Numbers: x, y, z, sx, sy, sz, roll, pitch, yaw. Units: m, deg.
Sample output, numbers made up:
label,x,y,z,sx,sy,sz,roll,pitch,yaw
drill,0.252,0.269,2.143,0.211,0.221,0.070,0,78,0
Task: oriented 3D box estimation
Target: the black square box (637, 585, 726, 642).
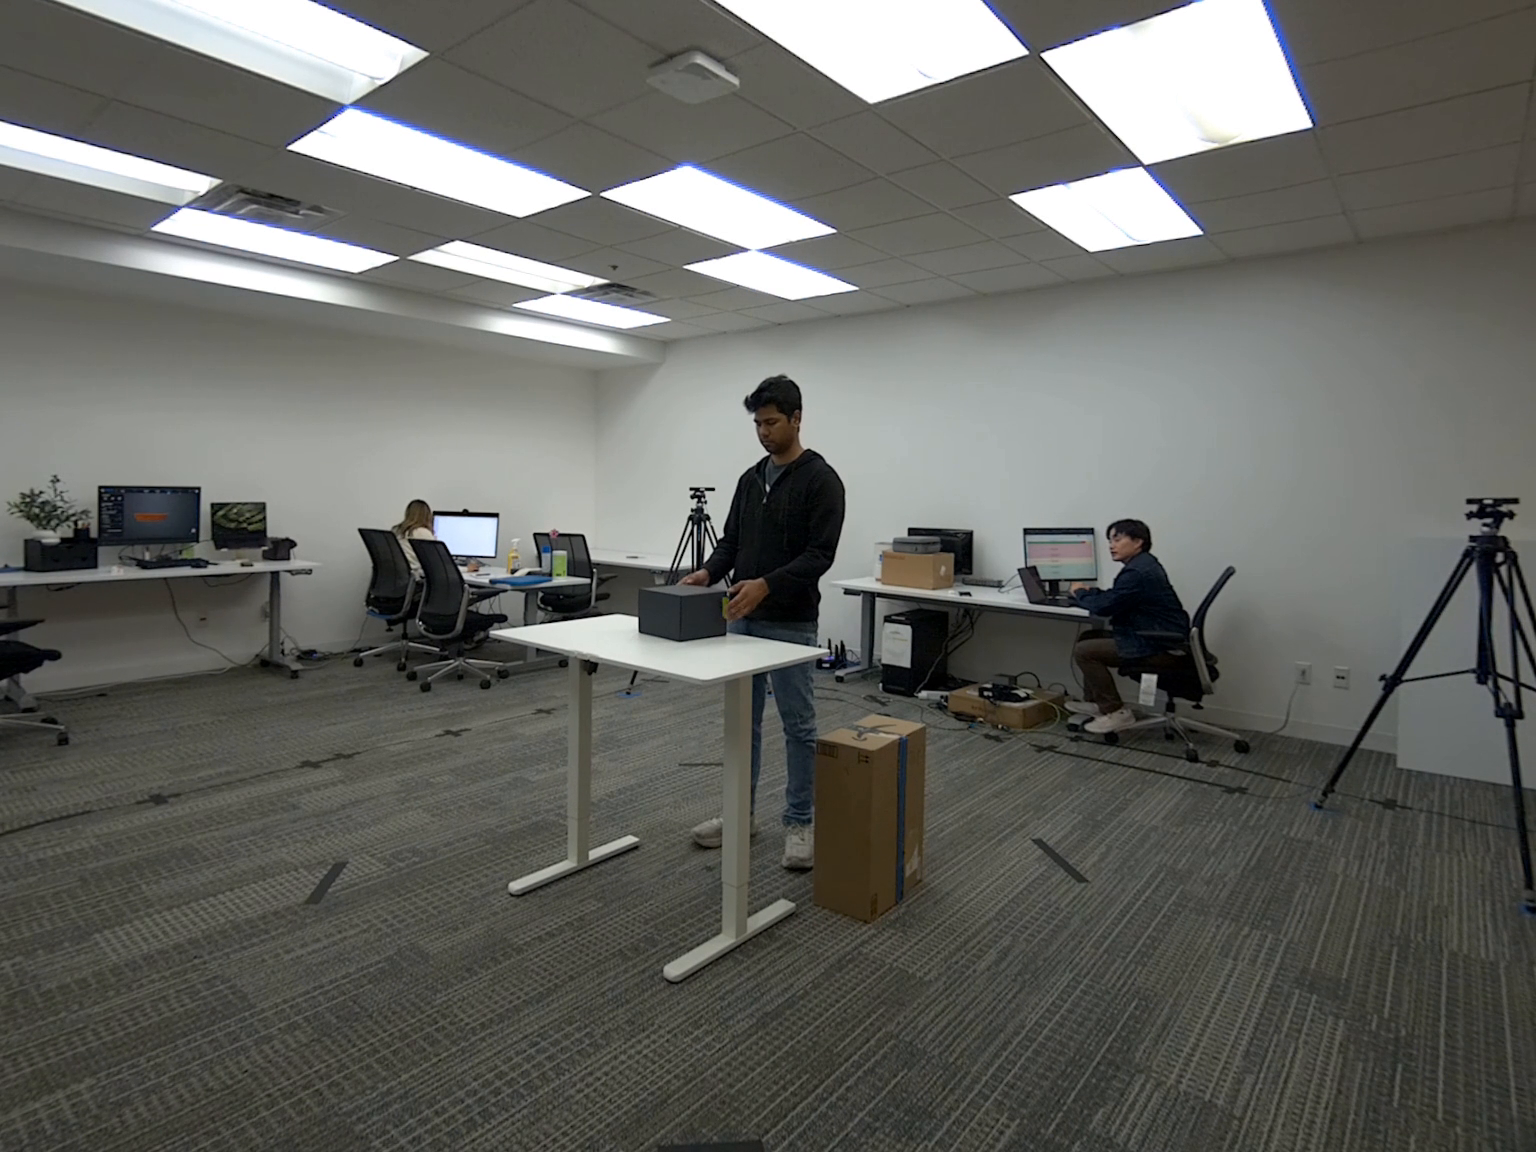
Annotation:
label,x,y,z,sx,sy,sz,roll,pitch,yaw
black square box,-0.310,0.122,2.924,0.210,0.155,0.236,-4,7,-45
